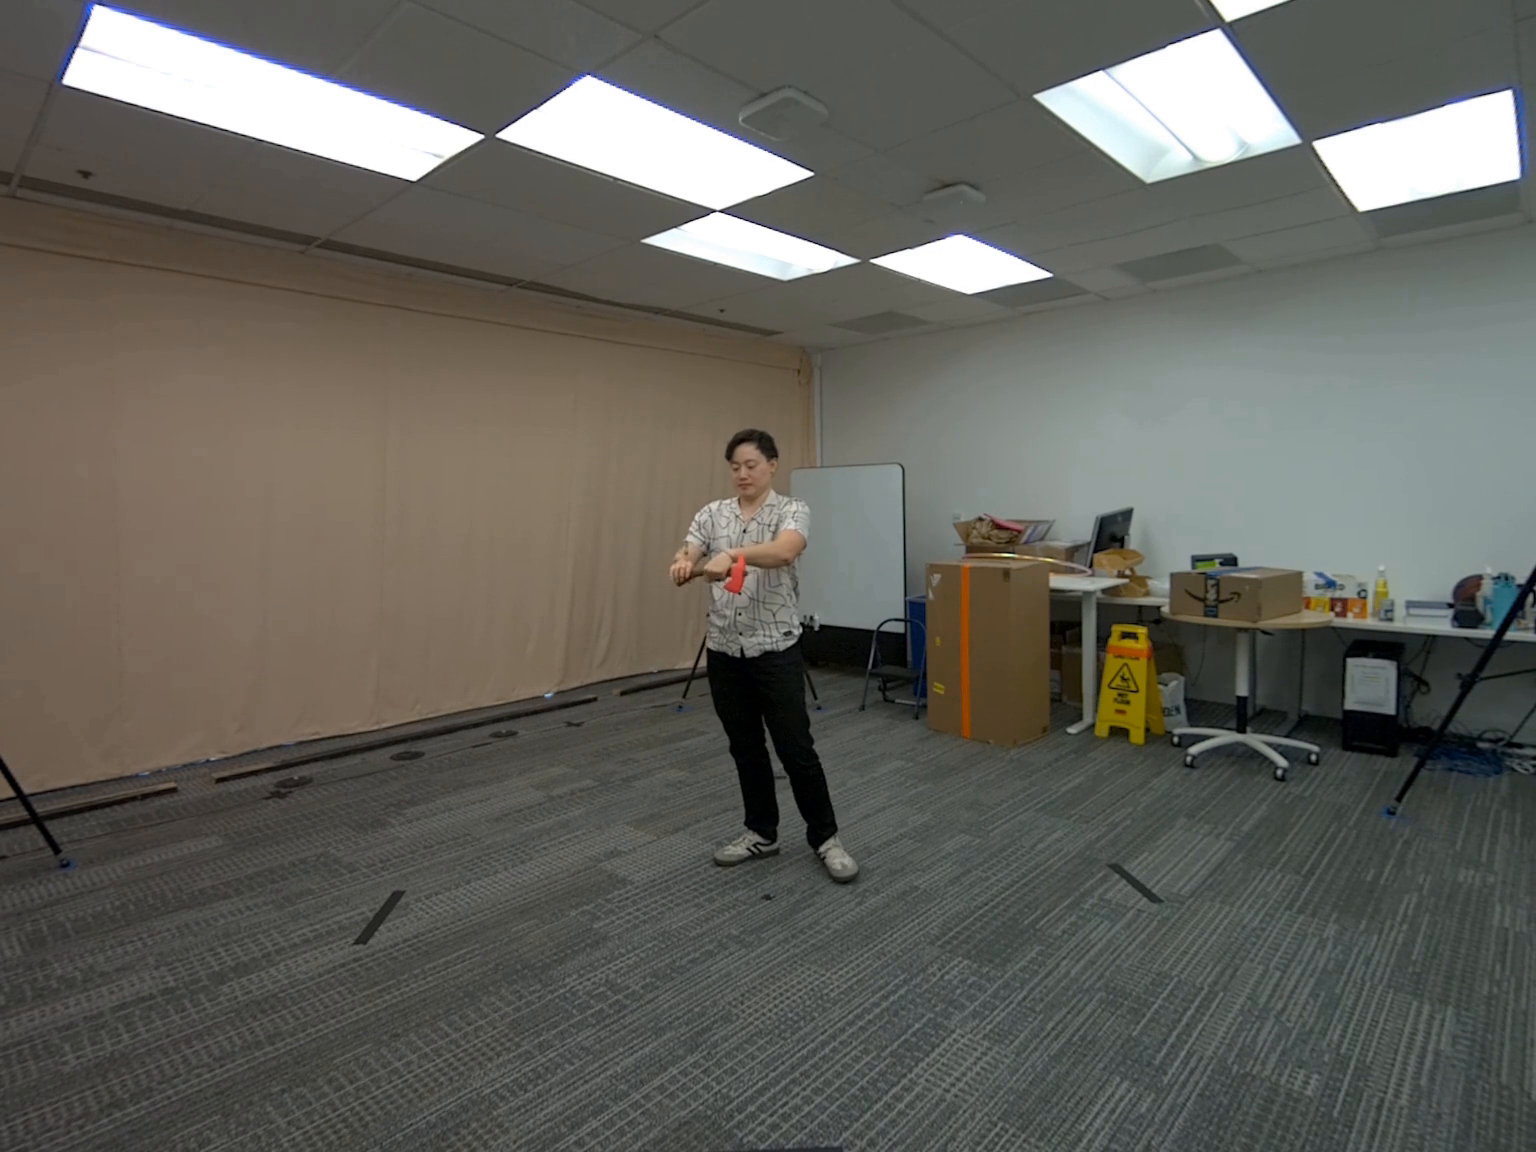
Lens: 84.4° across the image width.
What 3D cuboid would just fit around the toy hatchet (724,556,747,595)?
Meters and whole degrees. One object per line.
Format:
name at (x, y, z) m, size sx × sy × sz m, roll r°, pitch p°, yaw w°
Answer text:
toy hatchet at (-0.188, 0.023, 2.831) m, size 0.275 × 0.133 × 0.029 m, roll -17°, pitch -18°, yaw 22°
